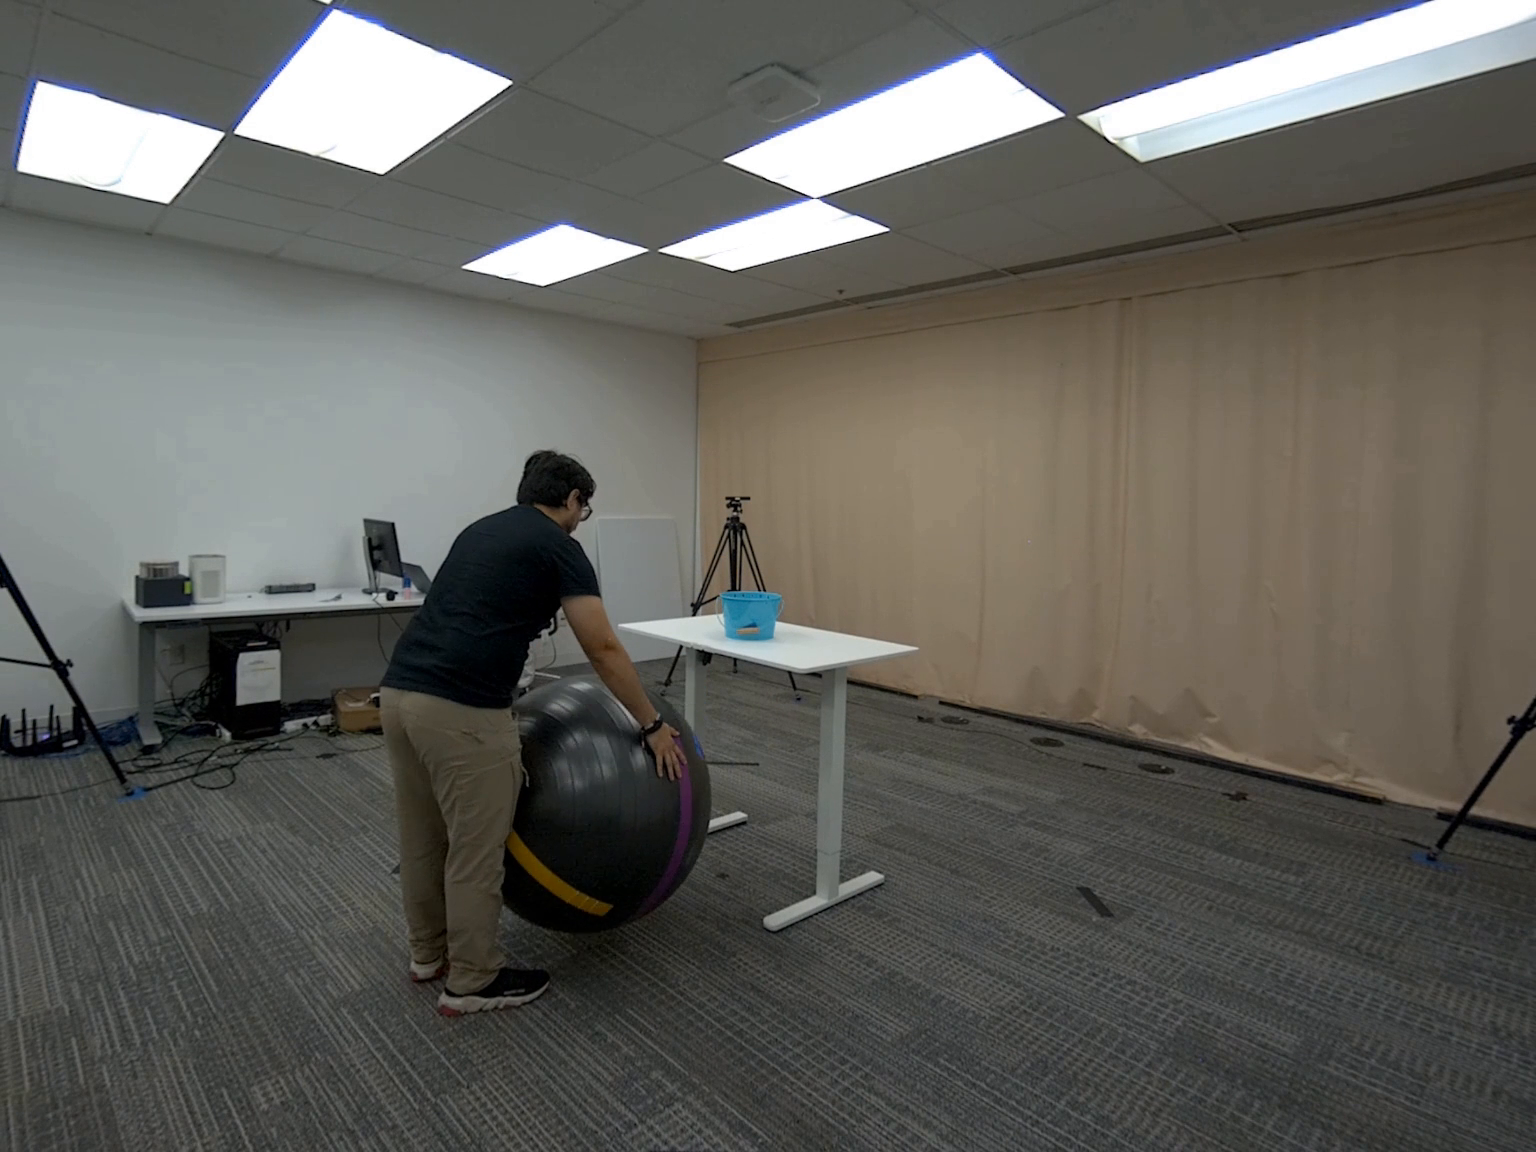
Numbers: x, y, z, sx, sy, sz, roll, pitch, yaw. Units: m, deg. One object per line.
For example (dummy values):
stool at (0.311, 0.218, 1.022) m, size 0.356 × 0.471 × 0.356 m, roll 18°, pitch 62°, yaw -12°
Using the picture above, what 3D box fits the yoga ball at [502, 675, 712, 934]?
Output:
yoga ball at (-0.553, 0.702, 2.585) m, size 0.757 × 0.756 × 0.761 m, roll 1°, pitch 4°, yaw -1°
